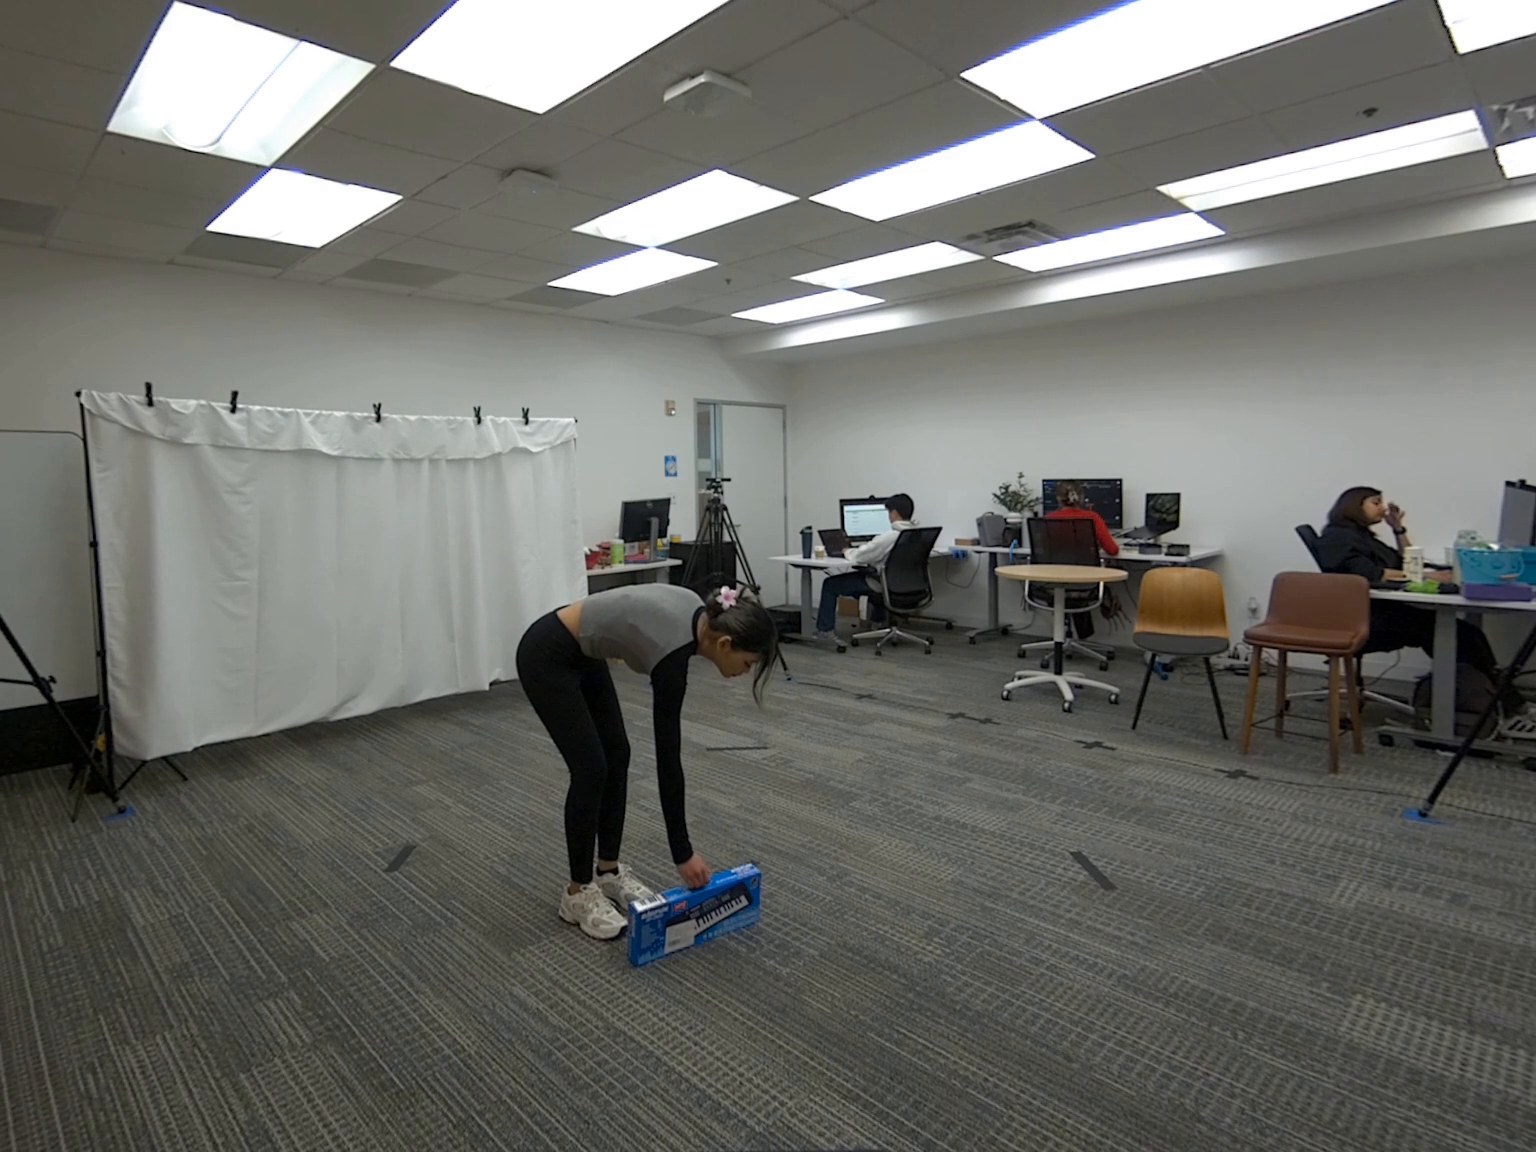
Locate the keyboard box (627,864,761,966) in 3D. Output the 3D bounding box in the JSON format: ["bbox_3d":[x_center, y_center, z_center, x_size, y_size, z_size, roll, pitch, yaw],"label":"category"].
[{"bbox_3d":[-0.214,1.021,2.583,0.426,0.174,0.061,-6,12,-34],"label":"keyboard box"}]
